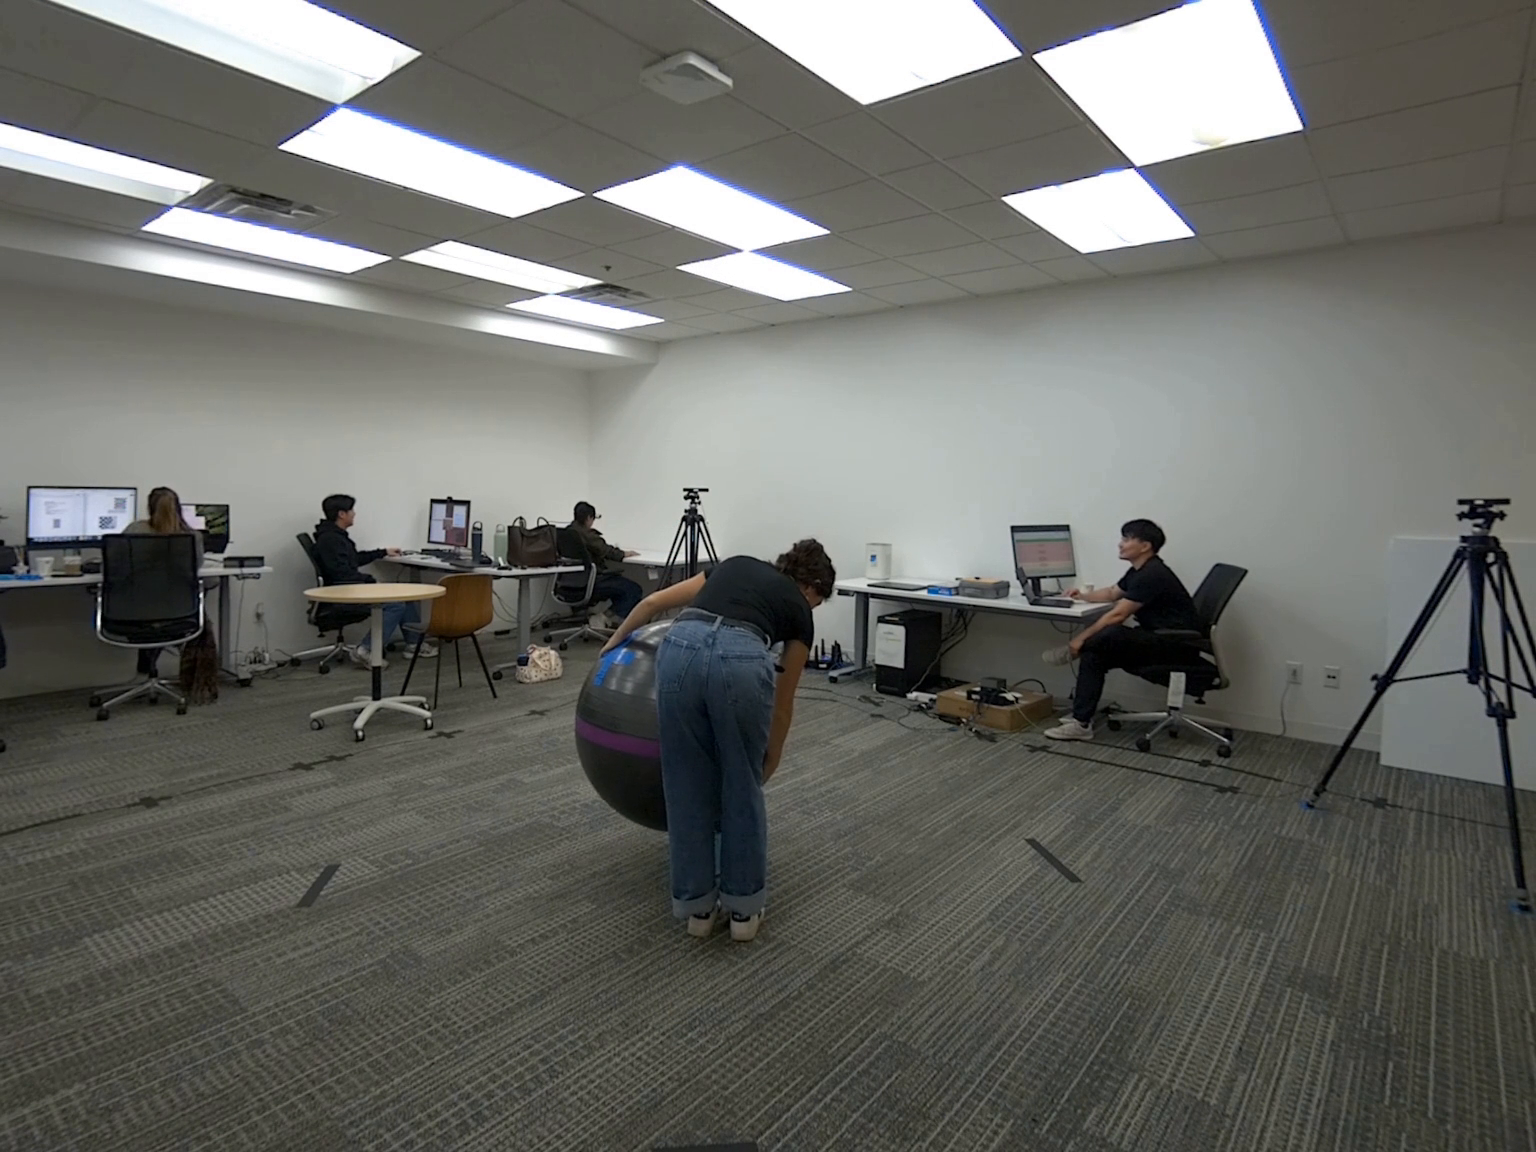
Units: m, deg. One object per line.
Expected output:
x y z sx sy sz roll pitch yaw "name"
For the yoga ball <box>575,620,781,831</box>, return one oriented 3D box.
-0.341 0.544 3.137 0.757 0.756 0.762 1 4 -2 "yoga ball"
